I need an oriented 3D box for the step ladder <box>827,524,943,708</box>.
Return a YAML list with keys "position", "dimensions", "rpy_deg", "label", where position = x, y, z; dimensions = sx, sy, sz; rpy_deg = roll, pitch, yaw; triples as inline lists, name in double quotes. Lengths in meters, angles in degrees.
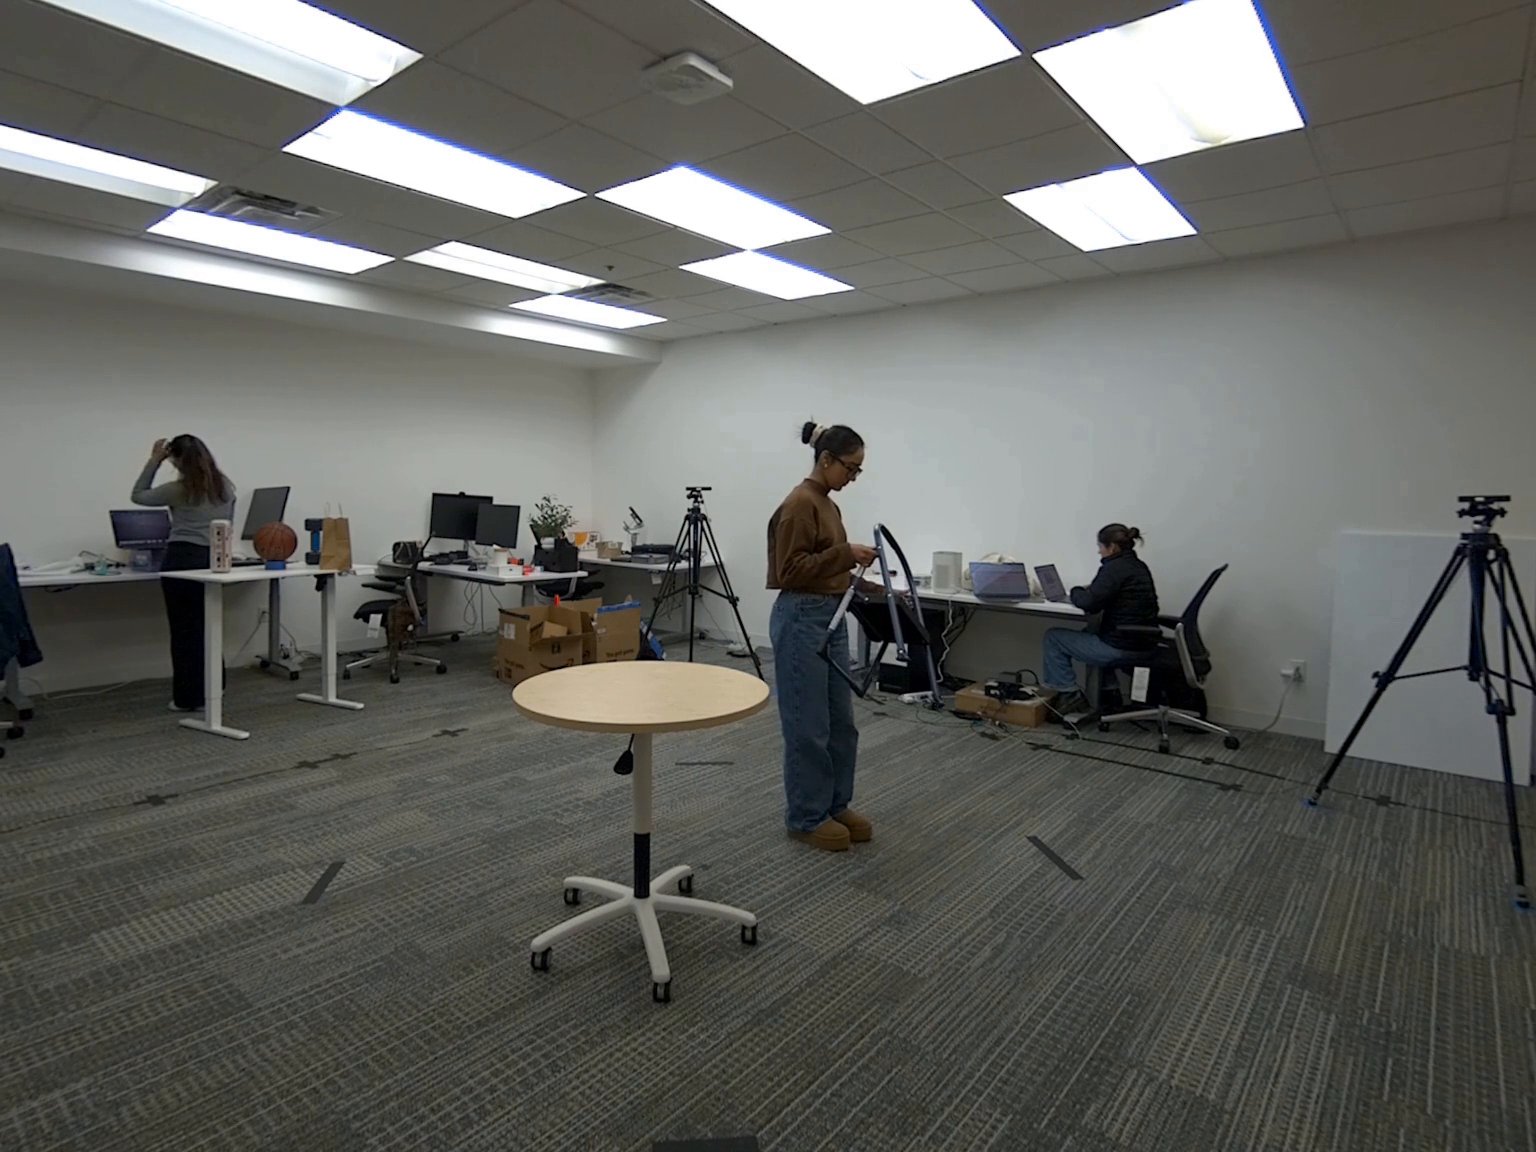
- position: [0.473, 0.116, 3.214]
  dimensions: [0.359, 0.615, 0.412]
  rpy_deg: [-1, -31, 32]
  label: "step ladder"
